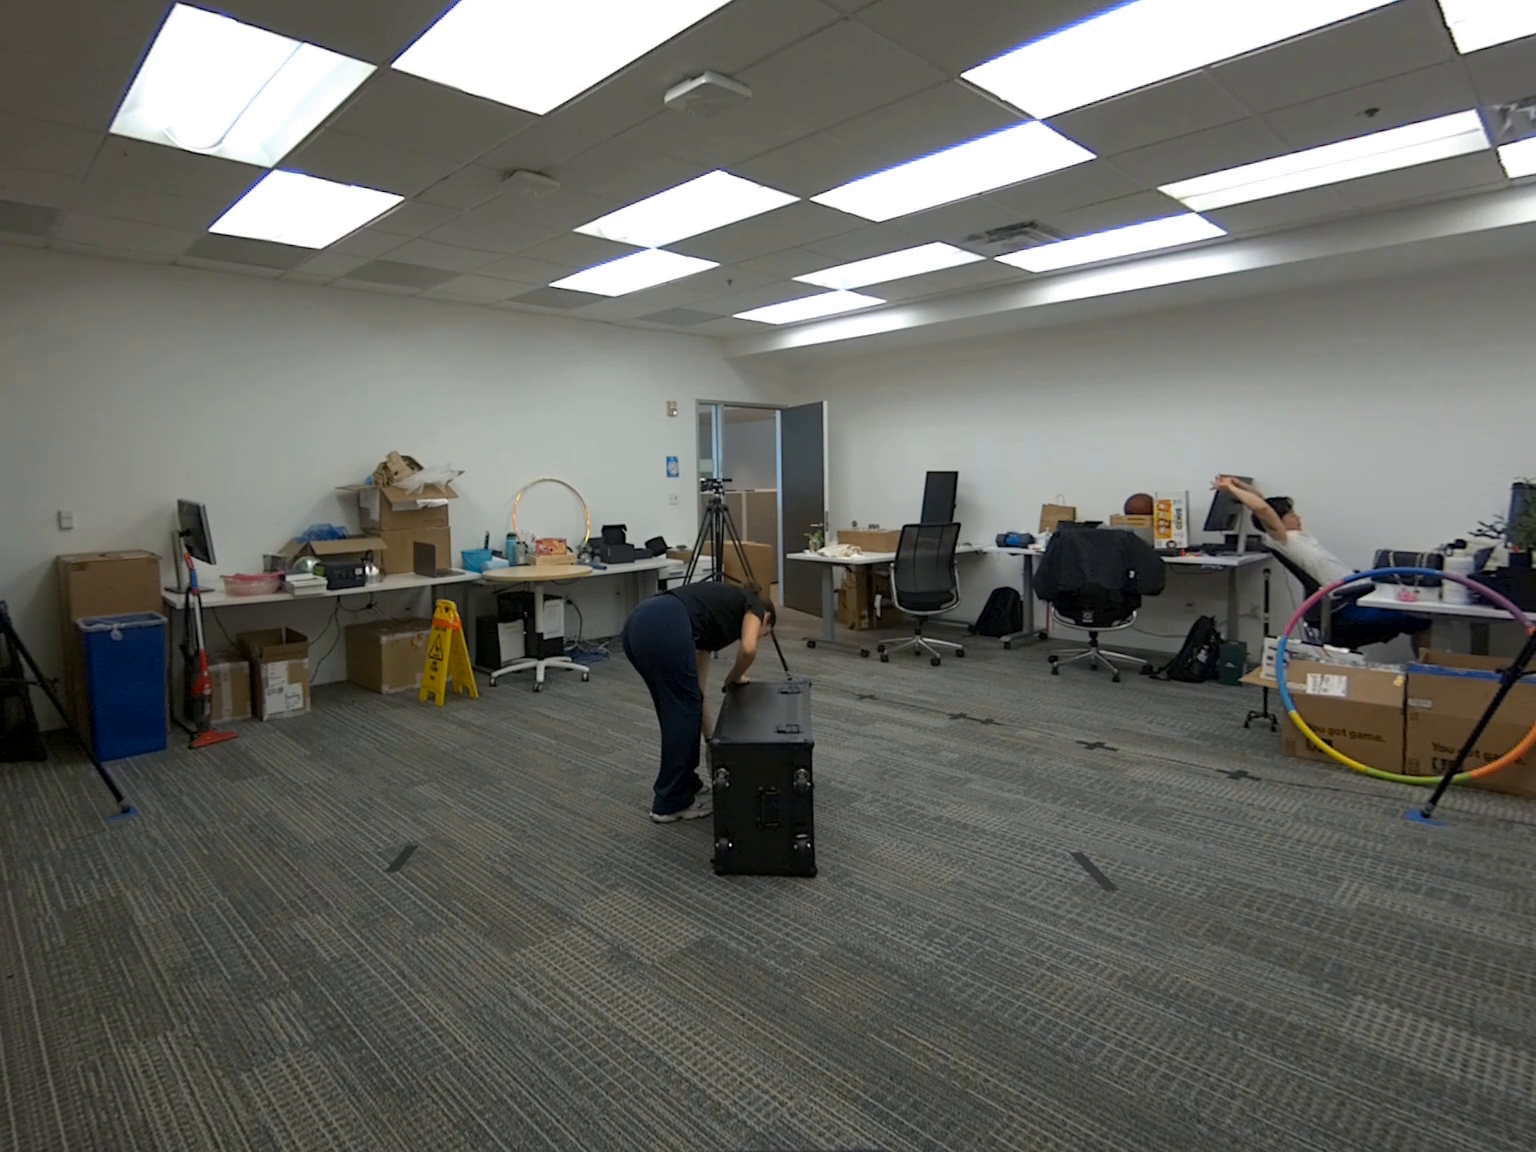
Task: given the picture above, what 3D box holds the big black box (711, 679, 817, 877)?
[{"bbox_3d":[-0.015,0.752,3.335,0.398,0.518,0.863,-1,6,3],"label":"big black box"}]
